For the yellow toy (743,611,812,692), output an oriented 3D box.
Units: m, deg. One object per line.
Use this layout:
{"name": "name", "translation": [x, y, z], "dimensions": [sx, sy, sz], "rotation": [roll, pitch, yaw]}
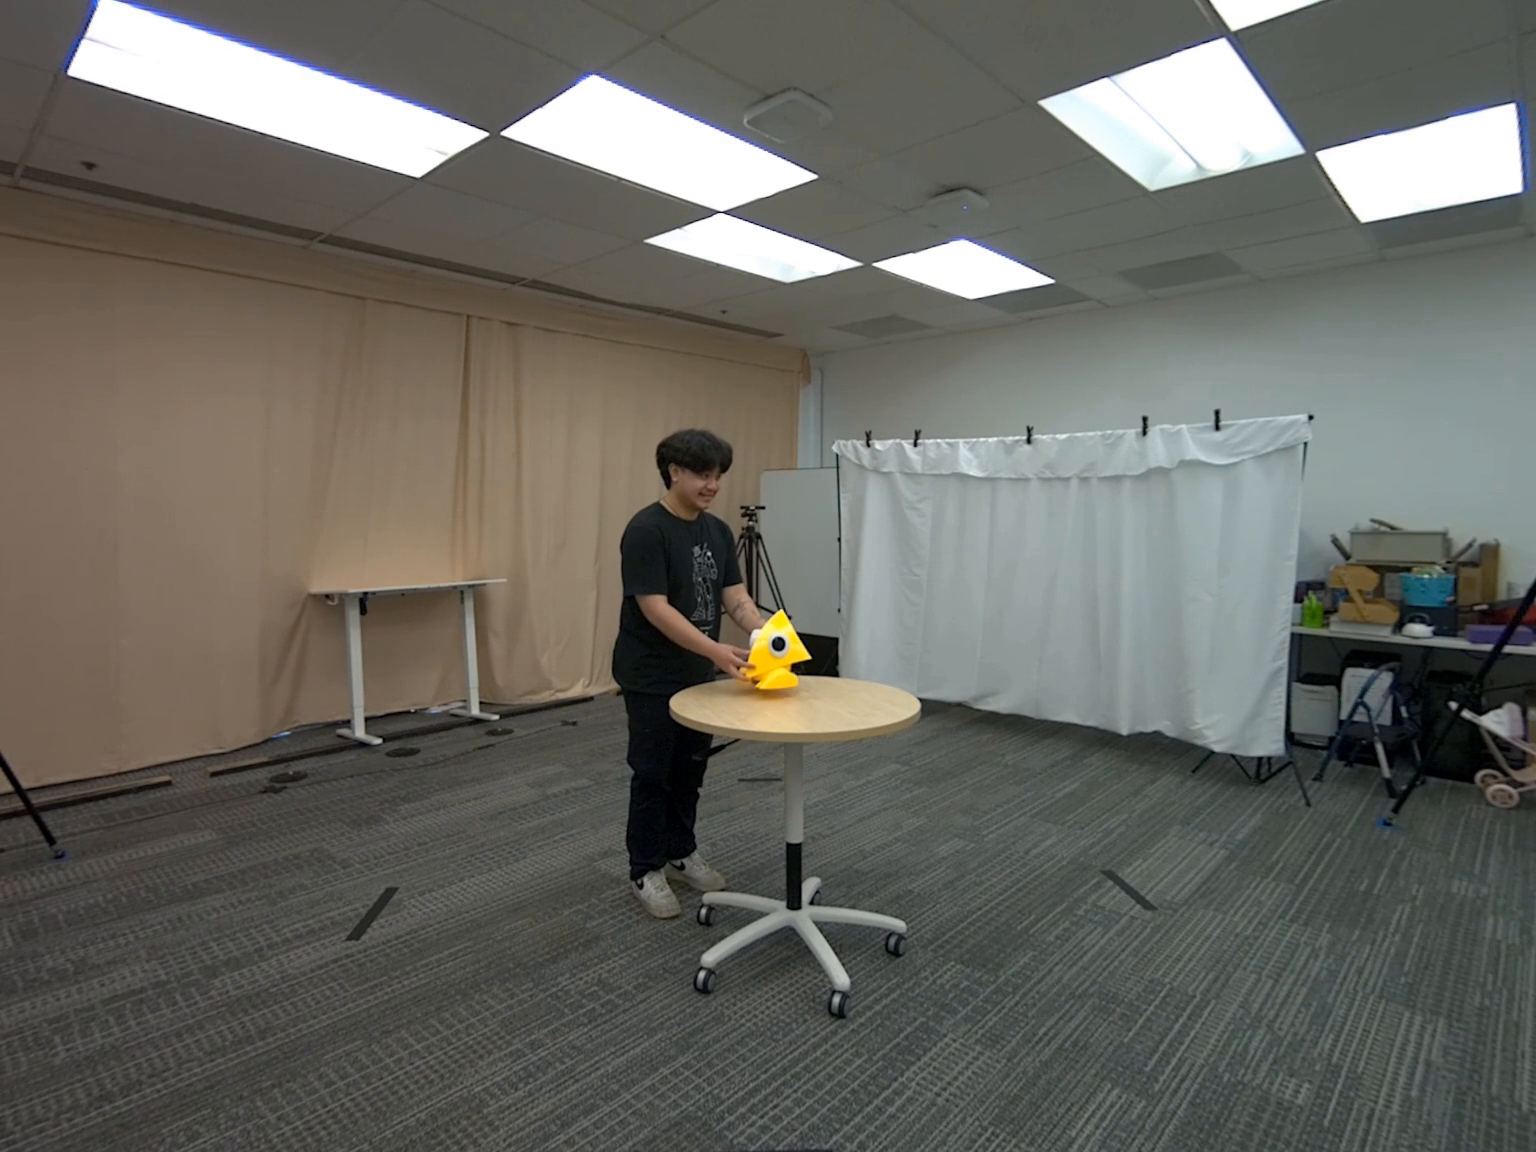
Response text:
{"name": "yellow toy", "translation": [0.009, 0.223, 2.682], "dimensions": [0.187, 0.230, 0.211], "rotation": [-3, 3, -39]}
